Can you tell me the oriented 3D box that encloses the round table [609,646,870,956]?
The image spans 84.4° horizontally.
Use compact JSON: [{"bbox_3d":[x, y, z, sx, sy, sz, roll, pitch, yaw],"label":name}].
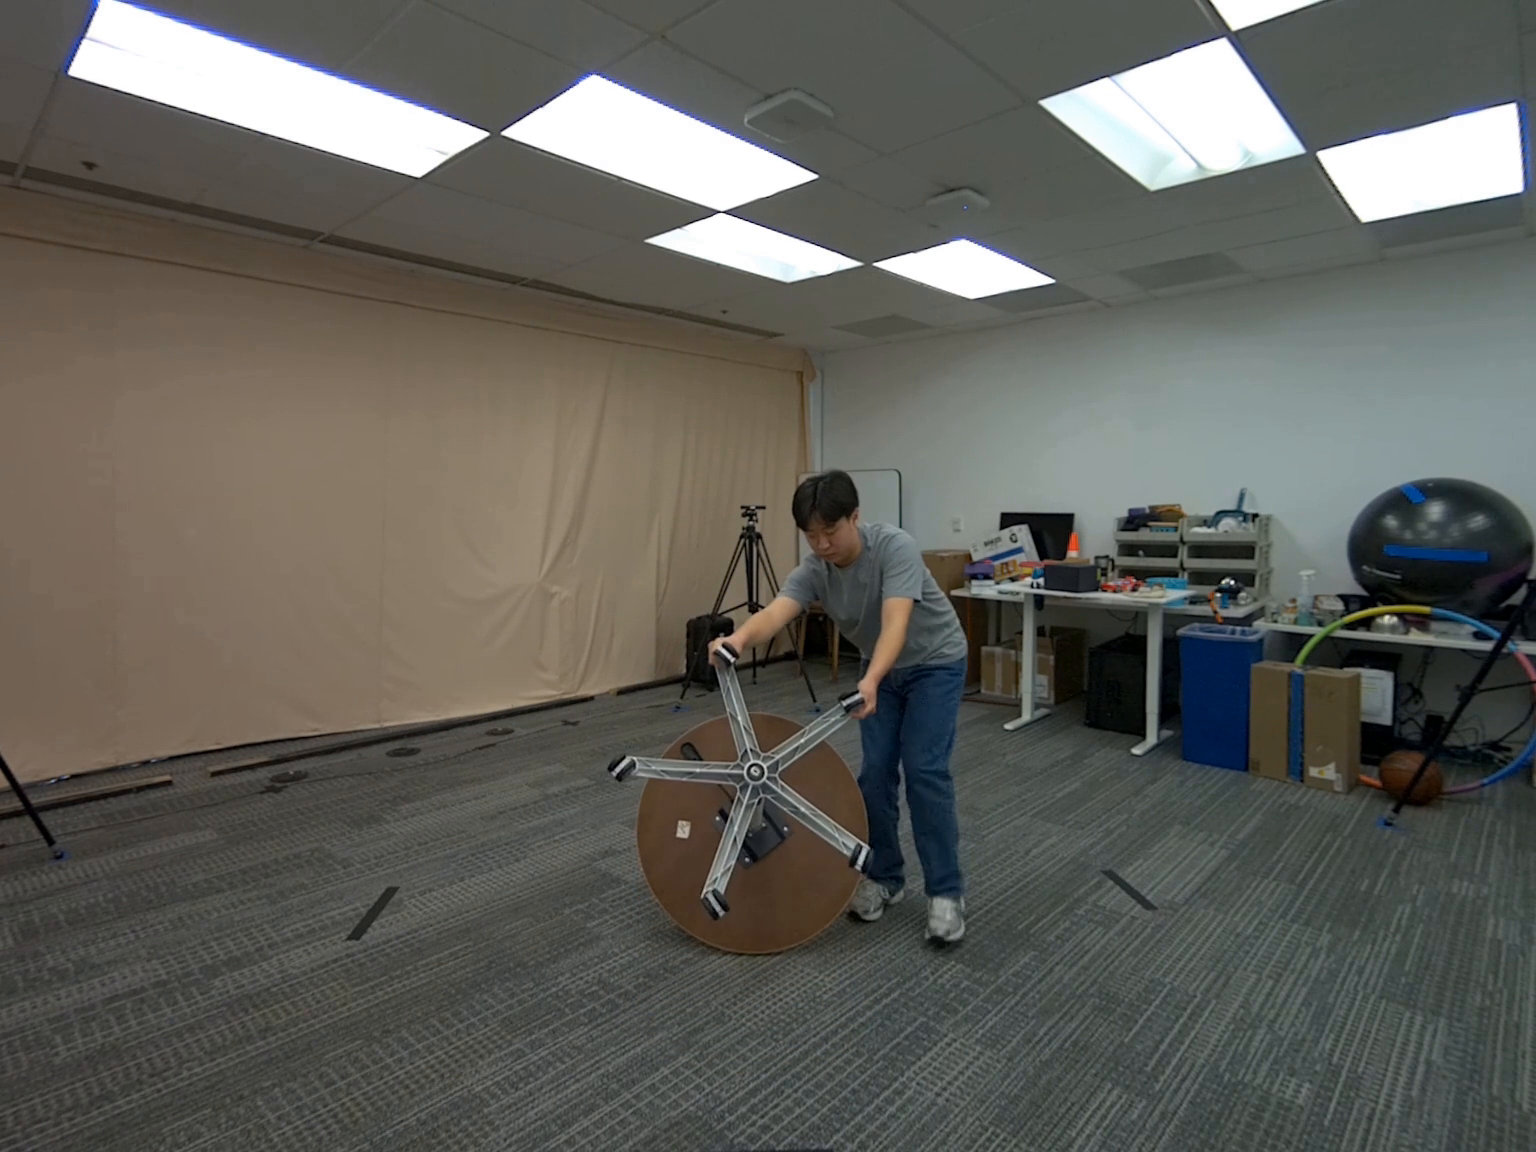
[{"bbox_3d":[-0.047,0.656,2.471,0.764,0.776,0.781,0,-29,-1],"label":"round table"}]
